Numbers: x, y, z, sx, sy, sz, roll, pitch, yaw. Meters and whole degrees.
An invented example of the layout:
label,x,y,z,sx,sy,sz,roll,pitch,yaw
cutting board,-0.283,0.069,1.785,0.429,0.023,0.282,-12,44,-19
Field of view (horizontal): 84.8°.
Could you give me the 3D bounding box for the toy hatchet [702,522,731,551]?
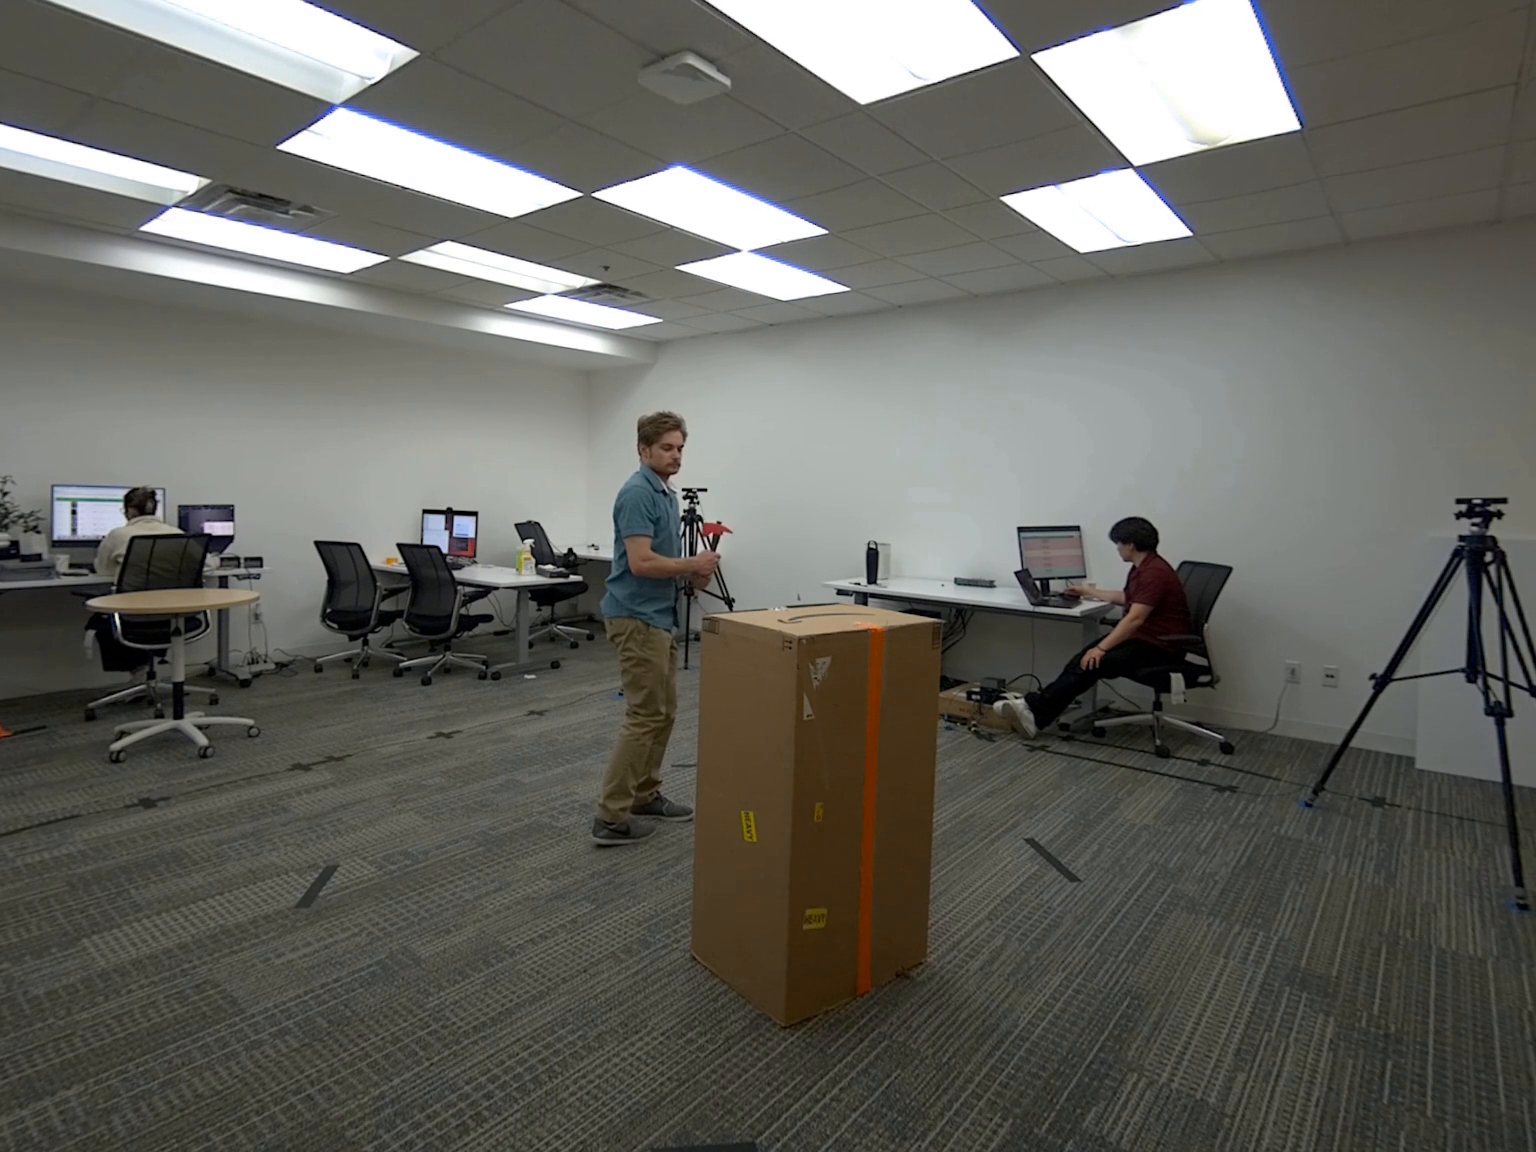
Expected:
label,x,y,z,sx,sy,sz,roll,pitch,yaw
toy hatchet,-0.275,-0.114,3.462,0.132,0.270,0.029,36,7,6
